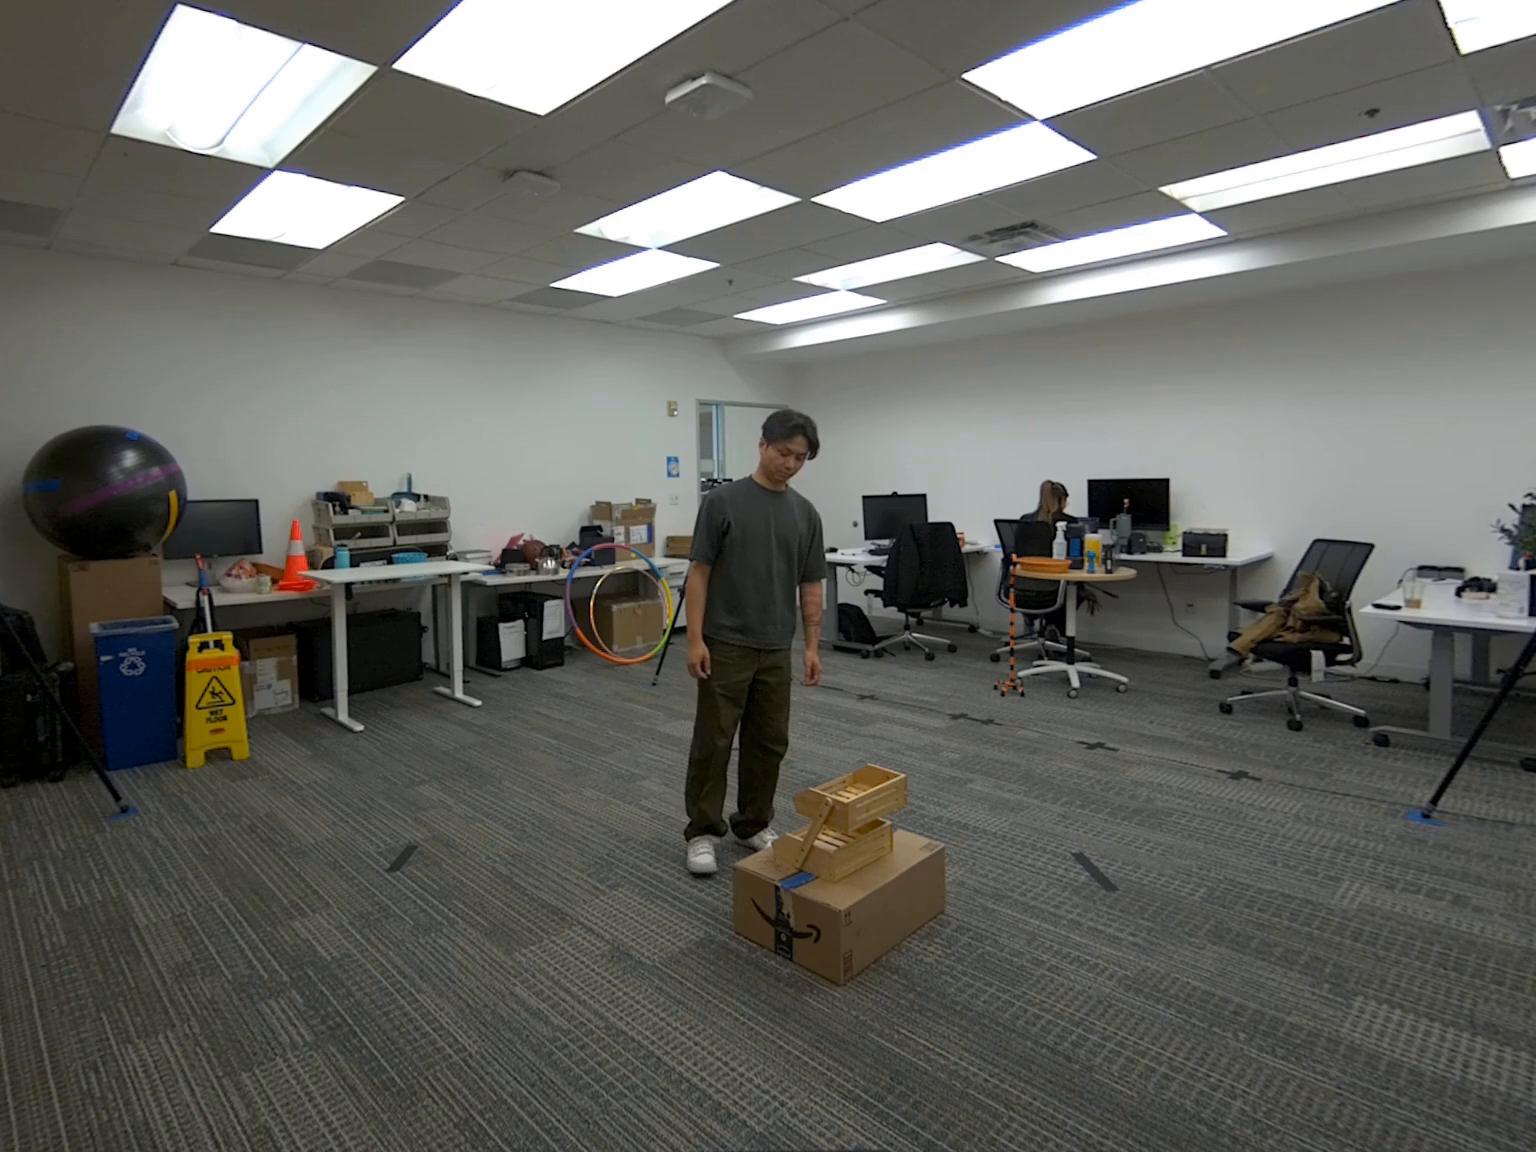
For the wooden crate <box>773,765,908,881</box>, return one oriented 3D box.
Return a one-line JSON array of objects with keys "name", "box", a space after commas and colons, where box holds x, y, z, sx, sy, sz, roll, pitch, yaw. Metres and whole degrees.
[{"name": "wooden crate", "box": [0.228, 0.746, 2.663, 0.311, 0.272, 0.316, 6, 9, 44]}]
